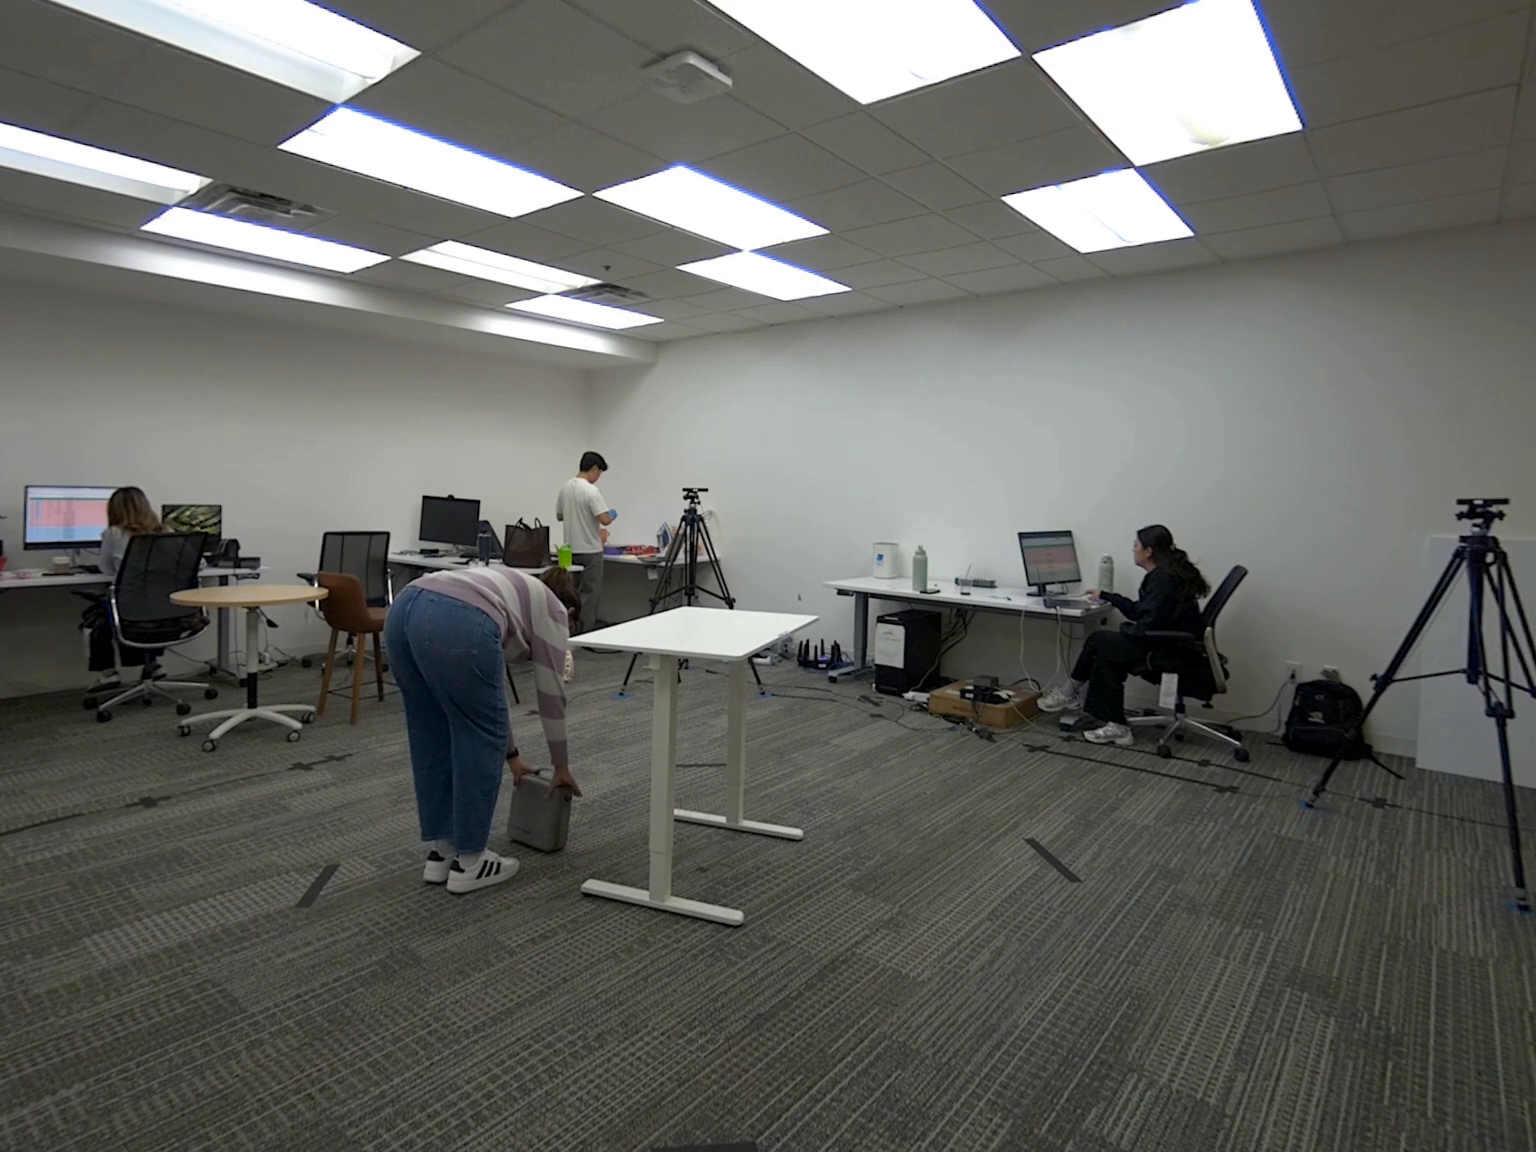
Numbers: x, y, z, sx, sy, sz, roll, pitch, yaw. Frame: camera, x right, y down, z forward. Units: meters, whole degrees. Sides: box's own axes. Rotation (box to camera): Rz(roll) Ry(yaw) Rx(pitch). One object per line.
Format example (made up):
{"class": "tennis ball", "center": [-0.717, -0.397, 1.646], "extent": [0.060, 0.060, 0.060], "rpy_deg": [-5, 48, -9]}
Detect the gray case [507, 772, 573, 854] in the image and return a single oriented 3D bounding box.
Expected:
{"class": "gray case", "center": [-0.906, 0.907, 3.307], "extent": [0.265, 0.262, 0.100], "rpy_deg": [2, -6, 36]}
